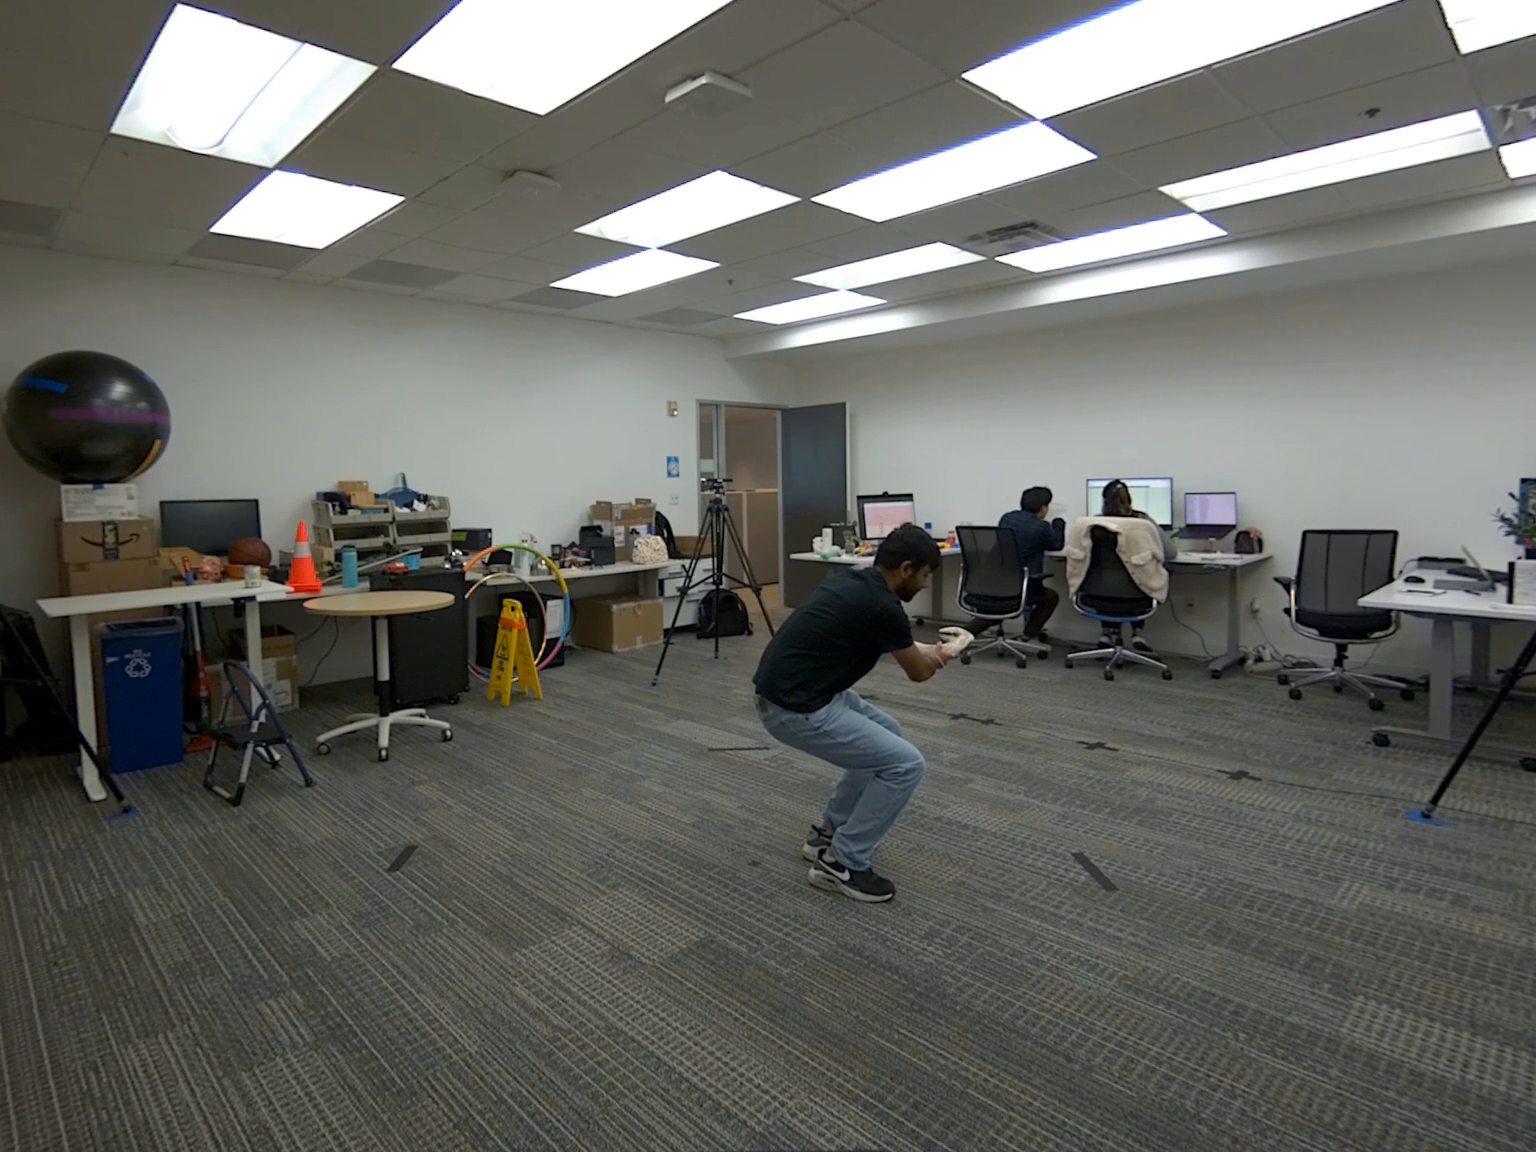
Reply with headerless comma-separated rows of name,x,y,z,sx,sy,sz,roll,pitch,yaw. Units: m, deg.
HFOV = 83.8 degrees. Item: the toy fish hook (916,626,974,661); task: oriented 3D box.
toy fish hook,0.614,0.260,3.498,0.221,0.047,0.522,-23,18,-35
